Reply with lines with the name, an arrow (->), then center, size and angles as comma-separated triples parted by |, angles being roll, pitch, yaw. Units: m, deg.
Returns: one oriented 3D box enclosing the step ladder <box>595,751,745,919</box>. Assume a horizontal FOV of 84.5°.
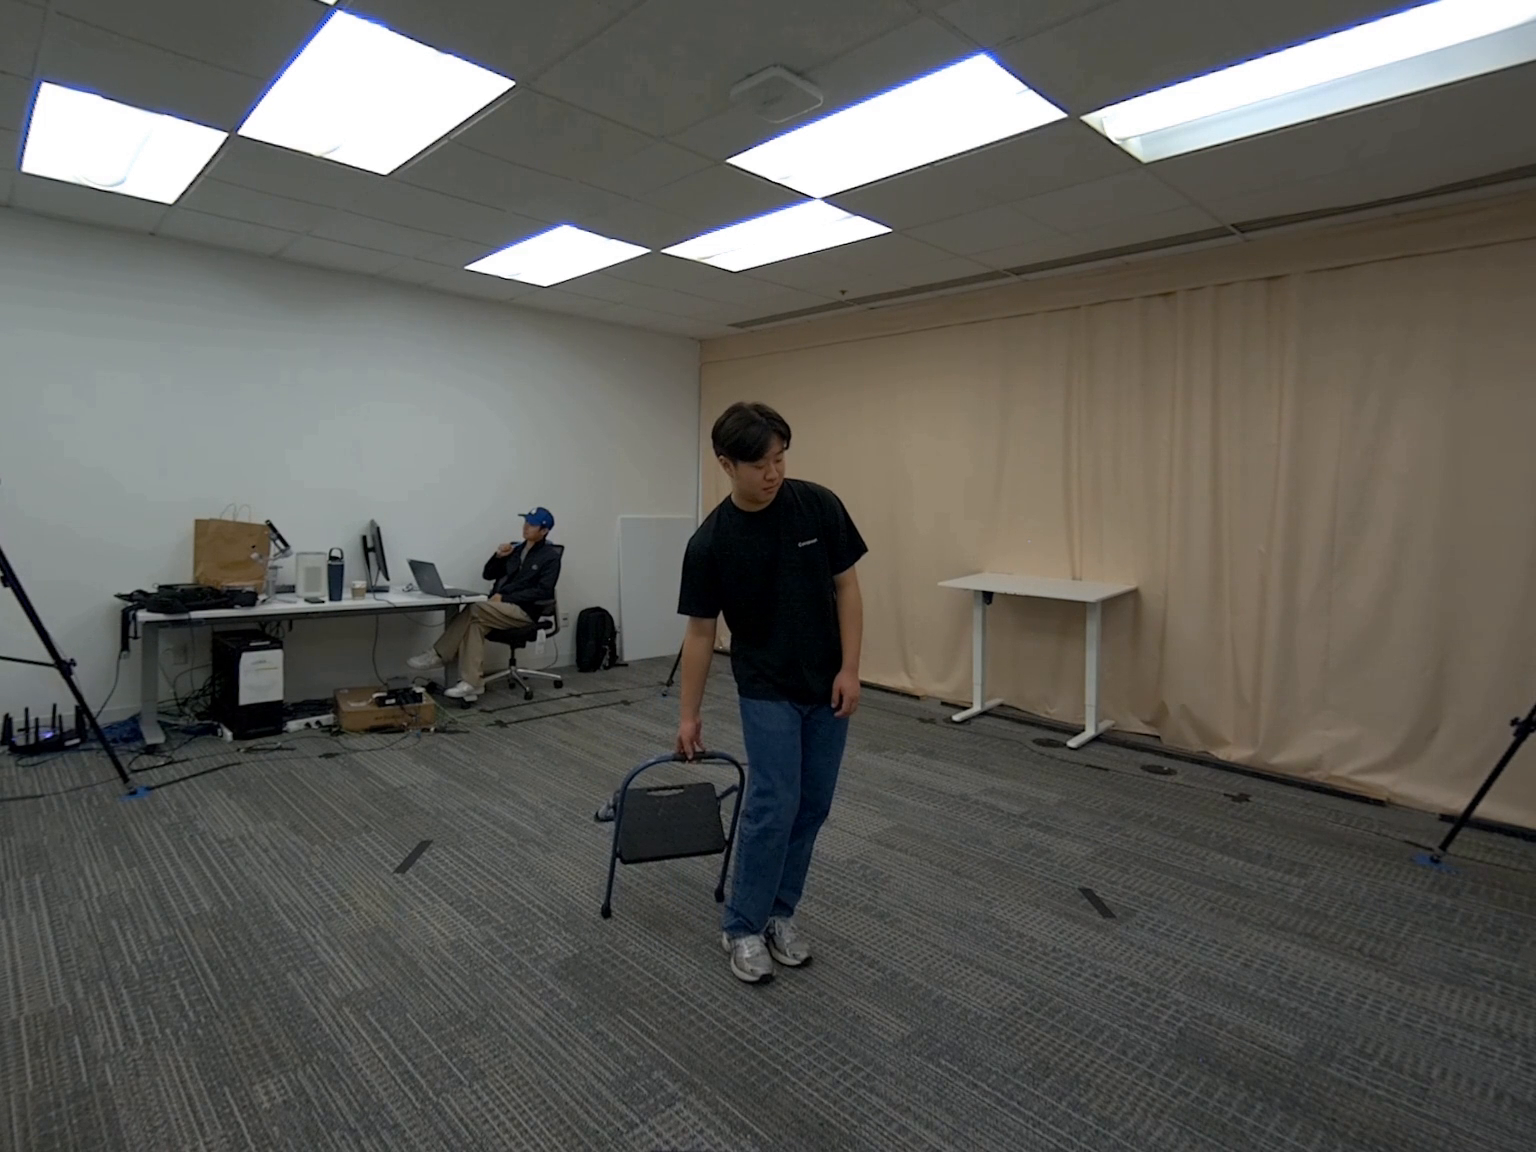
step ladder -> -0.309, 0.800, 2.733 | 0.424, 0.359, 0.599 | 0, -40, -22
